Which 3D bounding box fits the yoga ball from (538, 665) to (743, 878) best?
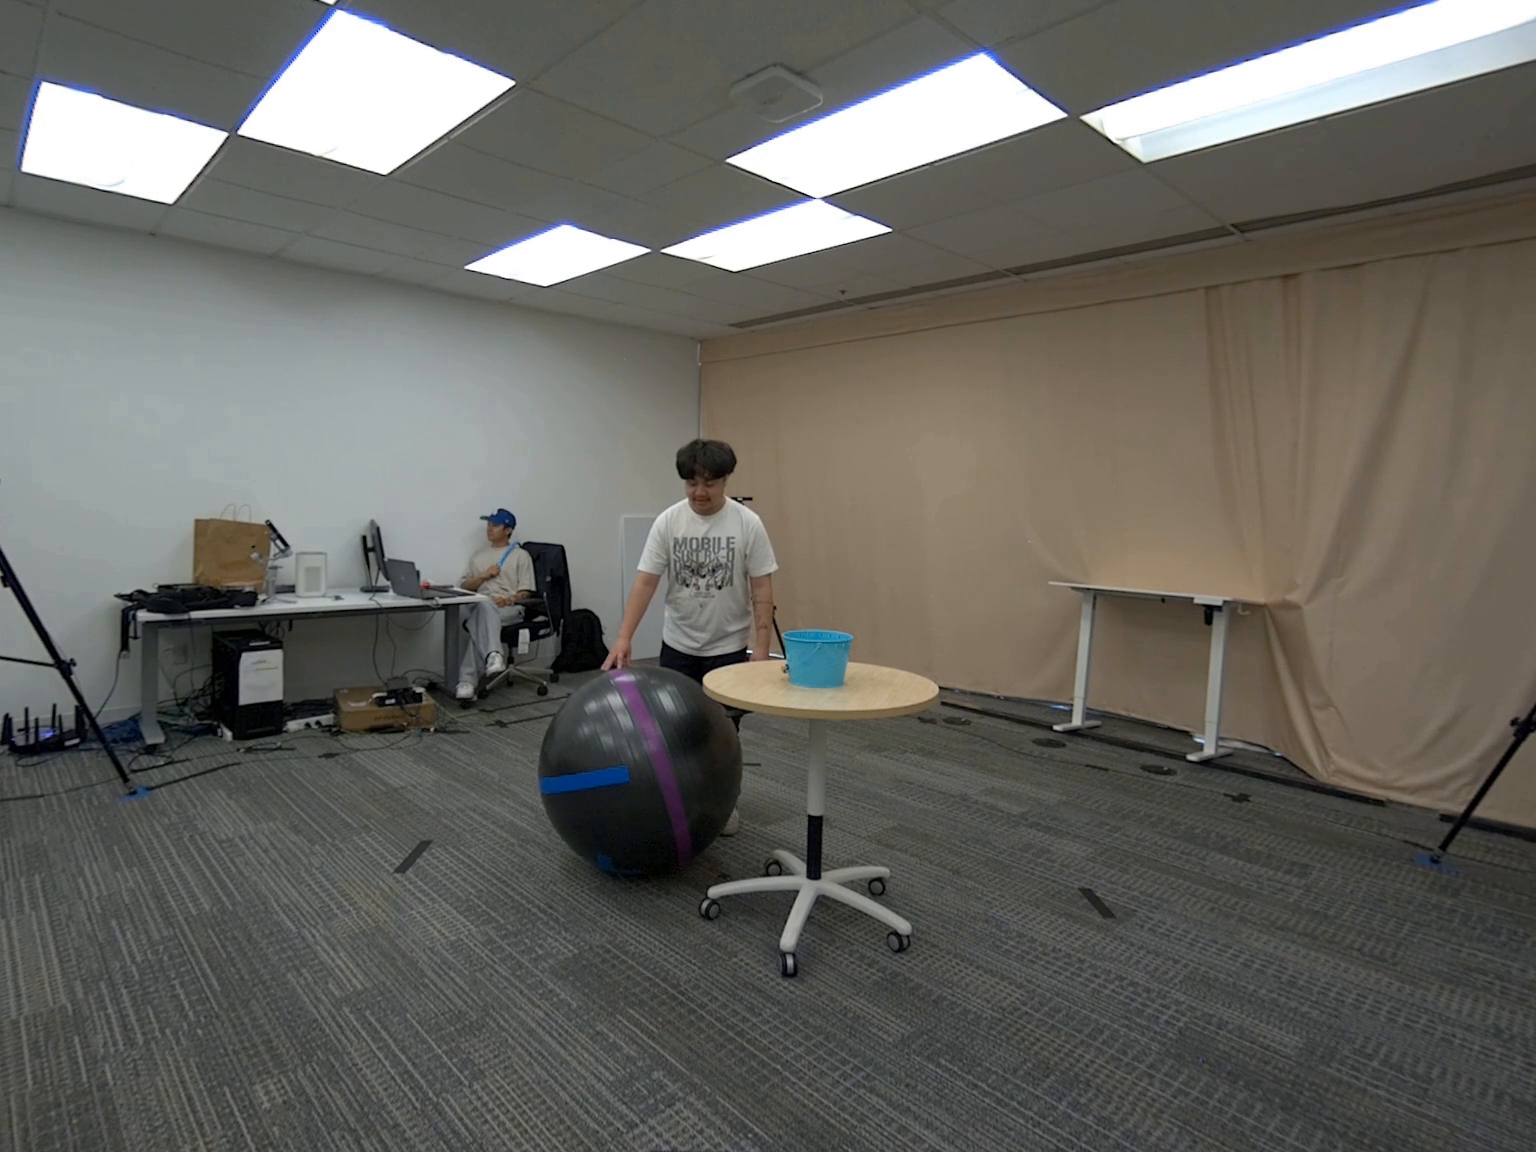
[{"bbox_3d":[-0.490,0.729,3.172,0.757,0.756,0.761,1,4,-1],"label":"yoga ball"}]
